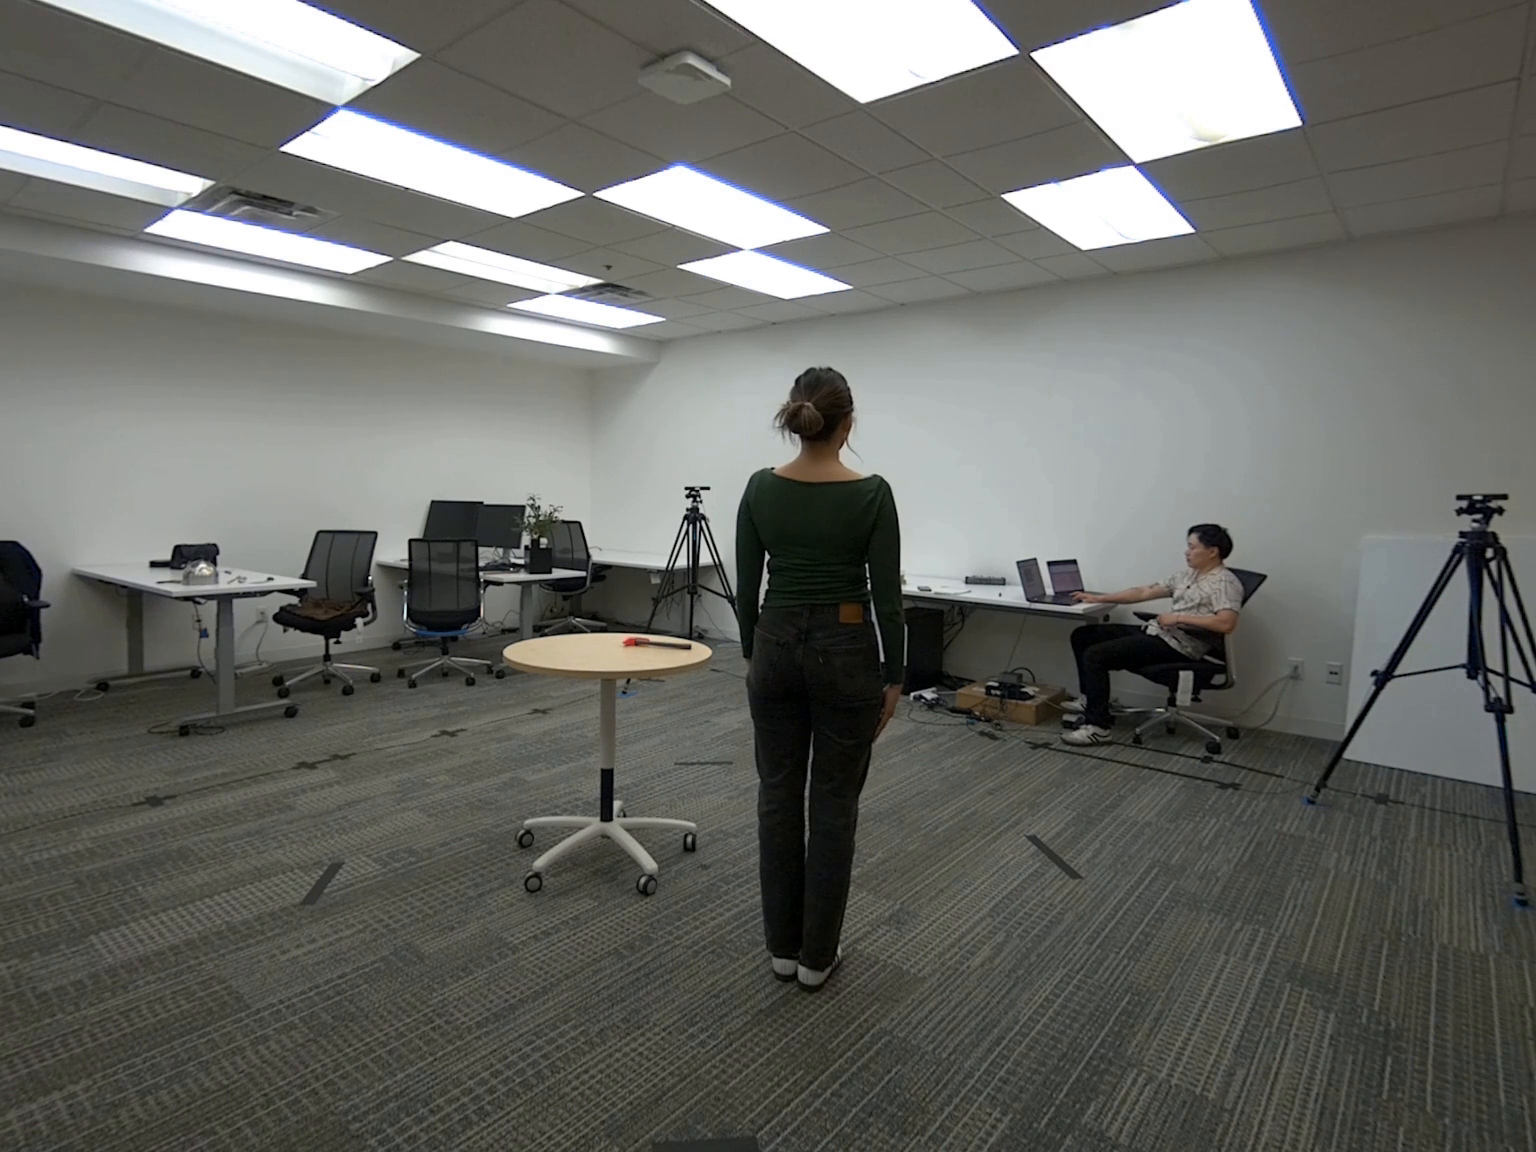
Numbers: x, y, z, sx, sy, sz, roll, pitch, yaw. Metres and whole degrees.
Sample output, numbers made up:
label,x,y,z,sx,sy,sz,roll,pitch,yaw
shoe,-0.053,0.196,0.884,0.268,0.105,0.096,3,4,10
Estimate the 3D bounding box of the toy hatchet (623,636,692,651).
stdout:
label,x,y,z,sx,sy,sz,roll,pitch,yaw
toy hatchet,-0.437,0.256,3.274,0.271,0.029,0.130,3,2,3
